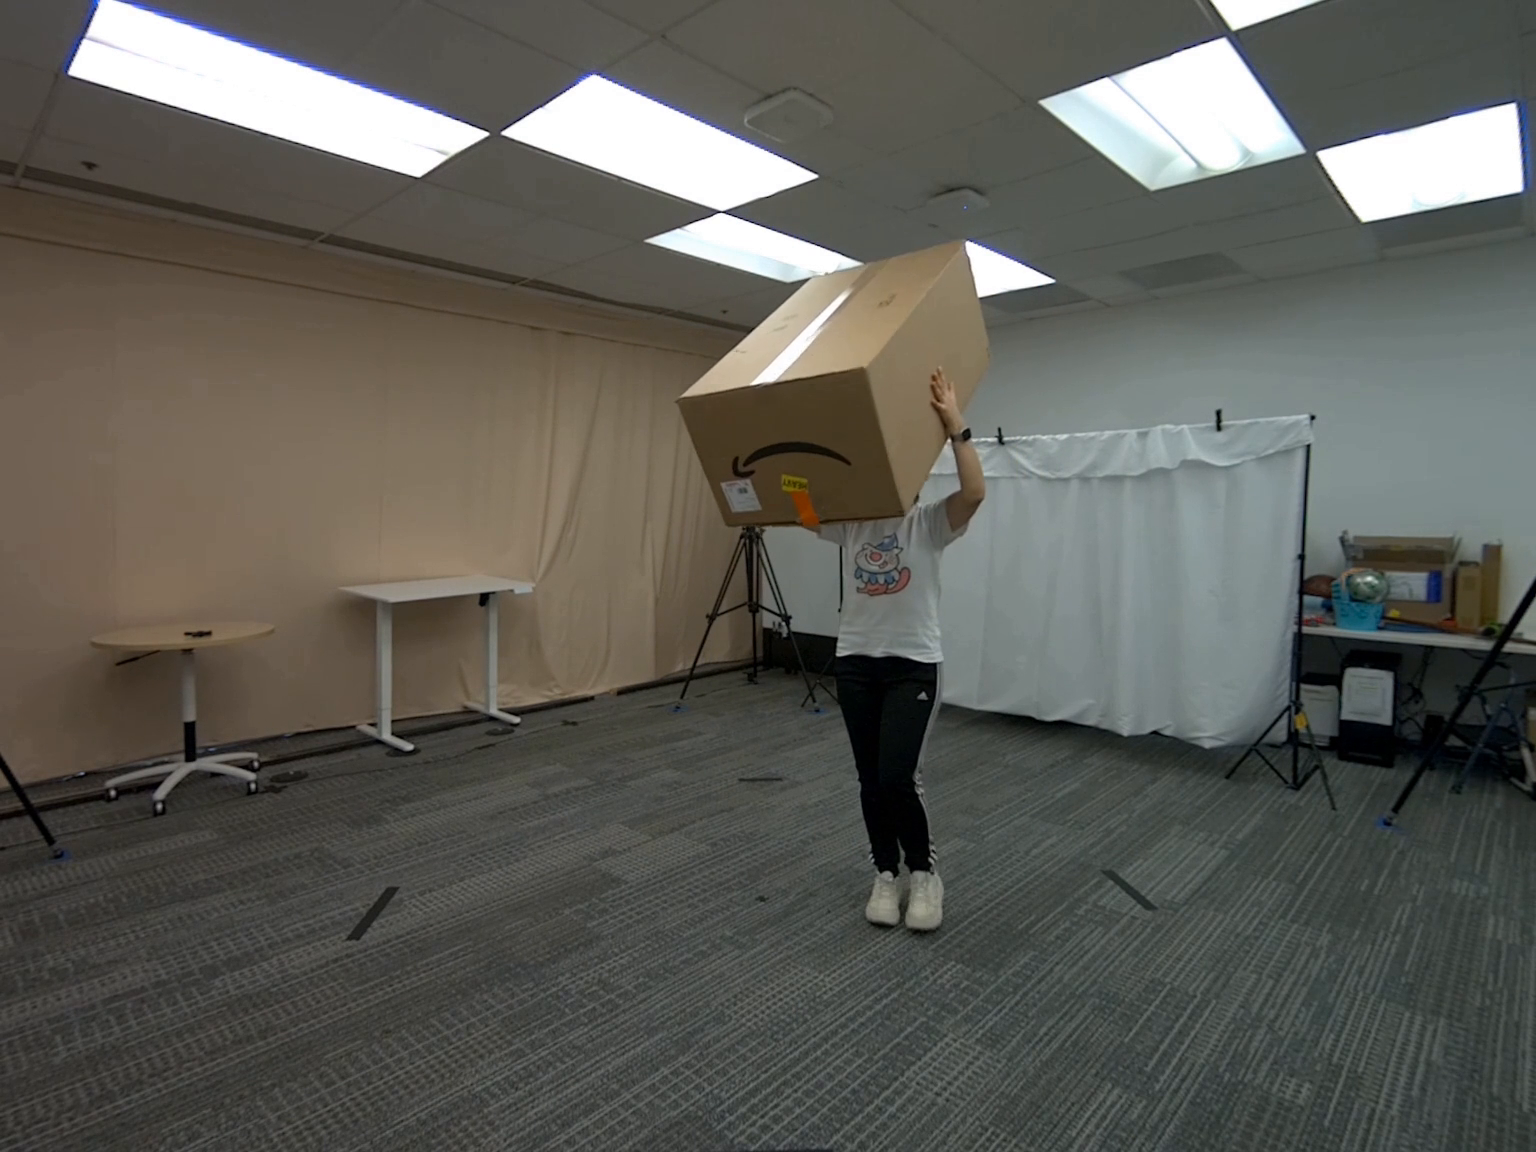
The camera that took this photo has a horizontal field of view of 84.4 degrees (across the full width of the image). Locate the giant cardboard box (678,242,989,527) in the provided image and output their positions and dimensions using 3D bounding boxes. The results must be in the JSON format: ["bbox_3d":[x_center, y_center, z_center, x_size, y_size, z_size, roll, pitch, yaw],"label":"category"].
[{"bbox_3d":[0.263,-0.606,2.628,0.601,0.436,1.022,-1,35,32],"label":"giant cardboard box"}]
